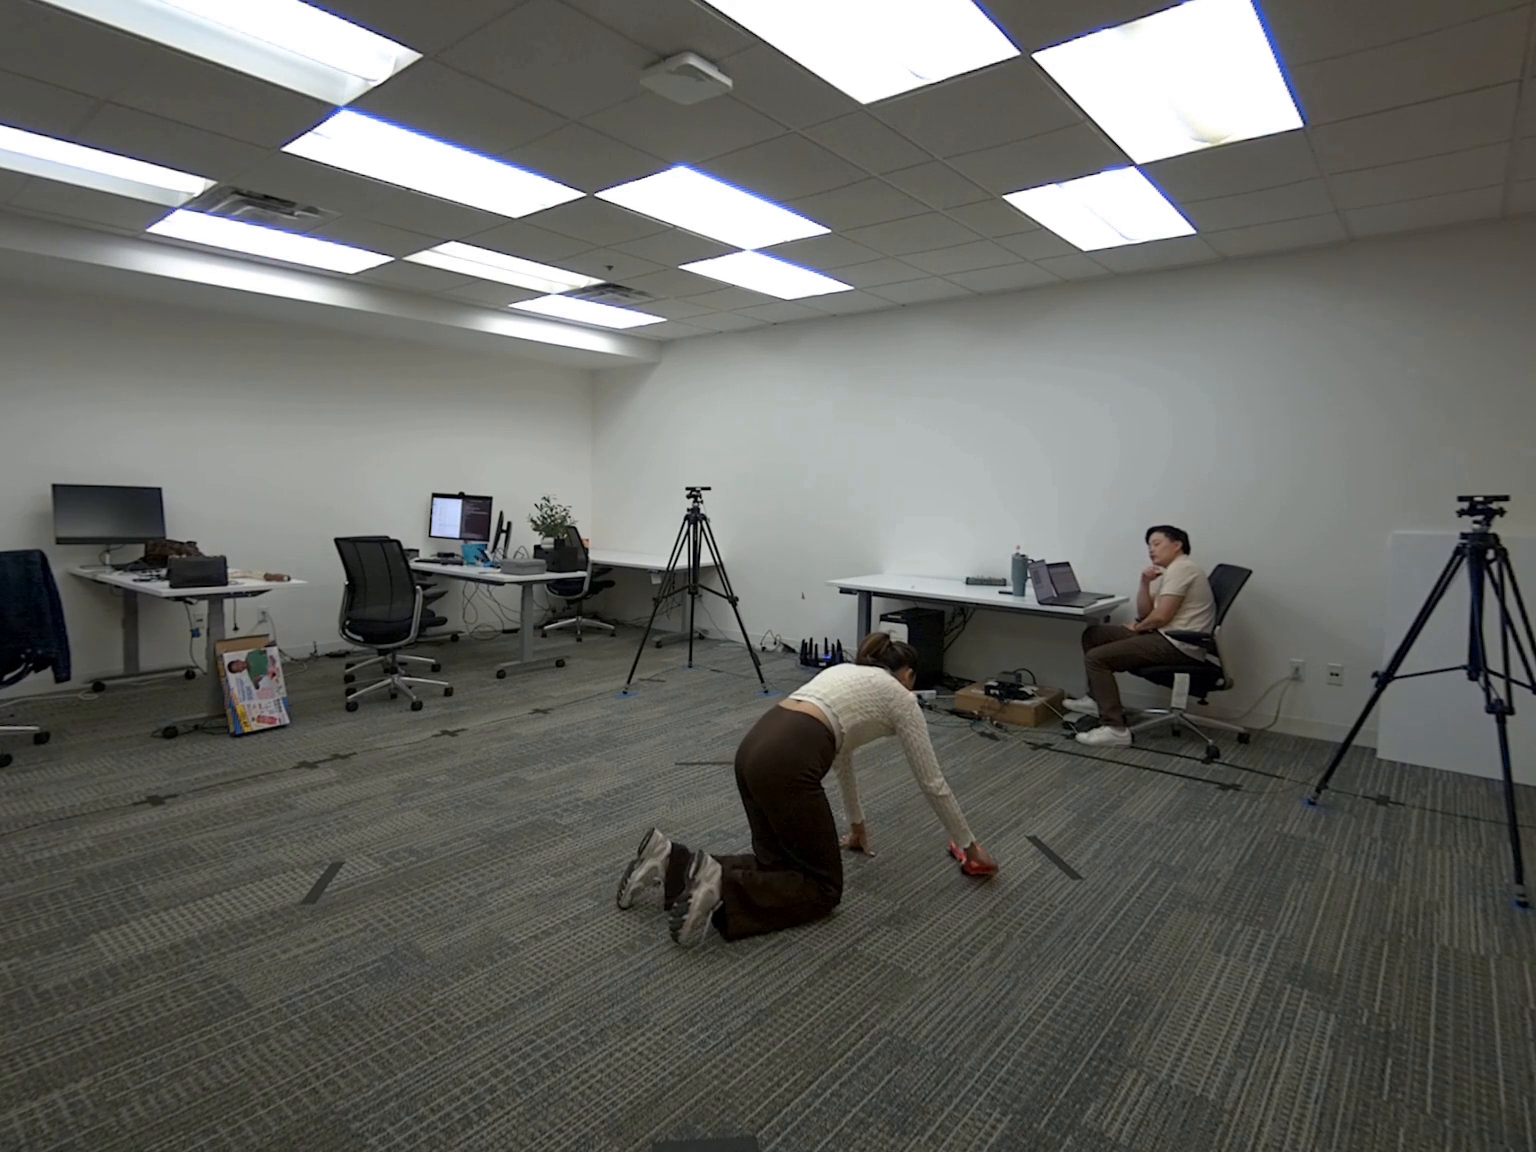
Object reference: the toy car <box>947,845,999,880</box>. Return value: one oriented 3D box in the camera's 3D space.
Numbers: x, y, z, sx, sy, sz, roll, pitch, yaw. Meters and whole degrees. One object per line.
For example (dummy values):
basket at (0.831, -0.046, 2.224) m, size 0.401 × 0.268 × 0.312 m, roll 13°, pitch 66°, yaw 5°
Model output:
toy car at (0.754, 1.045, 3.172) m, size 0.130 × 0.084 × 0.254 m, roll -1°, pitch -4°, yaw -5°
